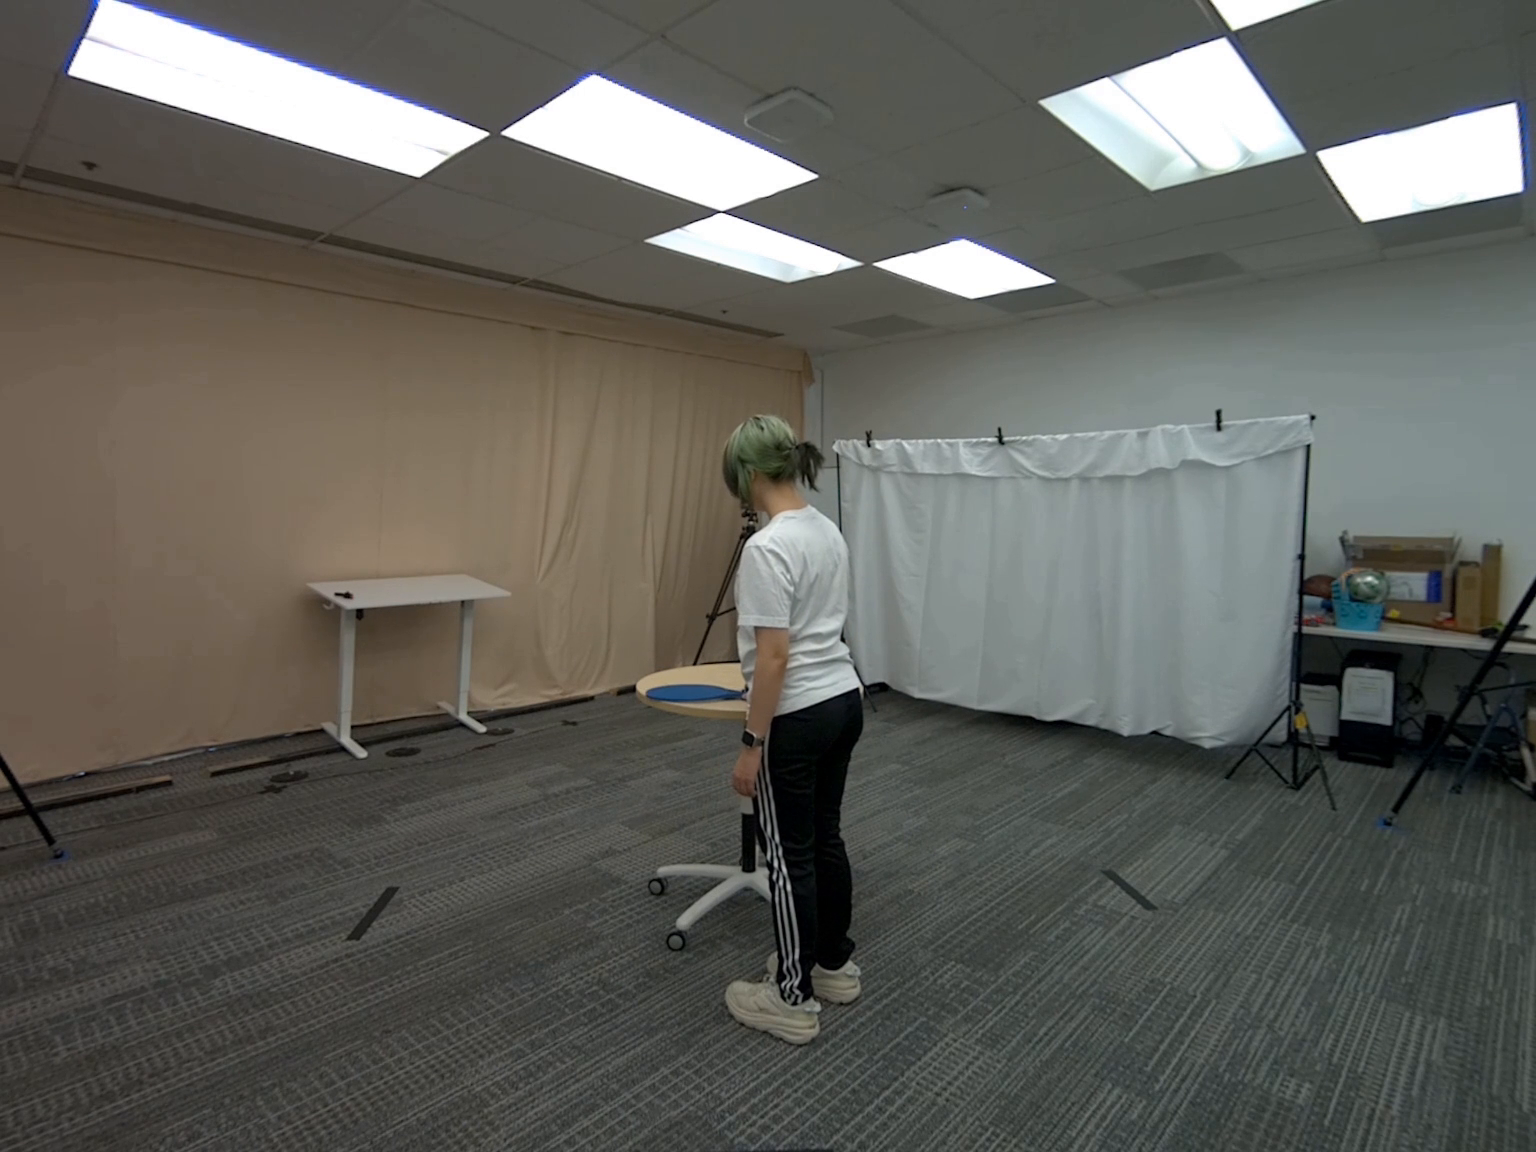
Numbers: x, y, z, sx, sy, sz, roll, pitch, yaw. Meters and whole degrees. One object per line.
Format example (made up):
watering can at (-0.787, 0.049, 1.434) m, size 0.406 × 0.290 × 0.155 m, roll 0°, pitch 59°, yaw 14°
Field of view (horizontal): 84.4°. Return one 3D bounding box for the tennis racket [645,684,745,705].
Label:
tennis racket at (-0.174, 0.377, 2.652) m, size 0.440 × 0.032 × 0.211 m, roll 0°, pitch 3°, yaw 14°
